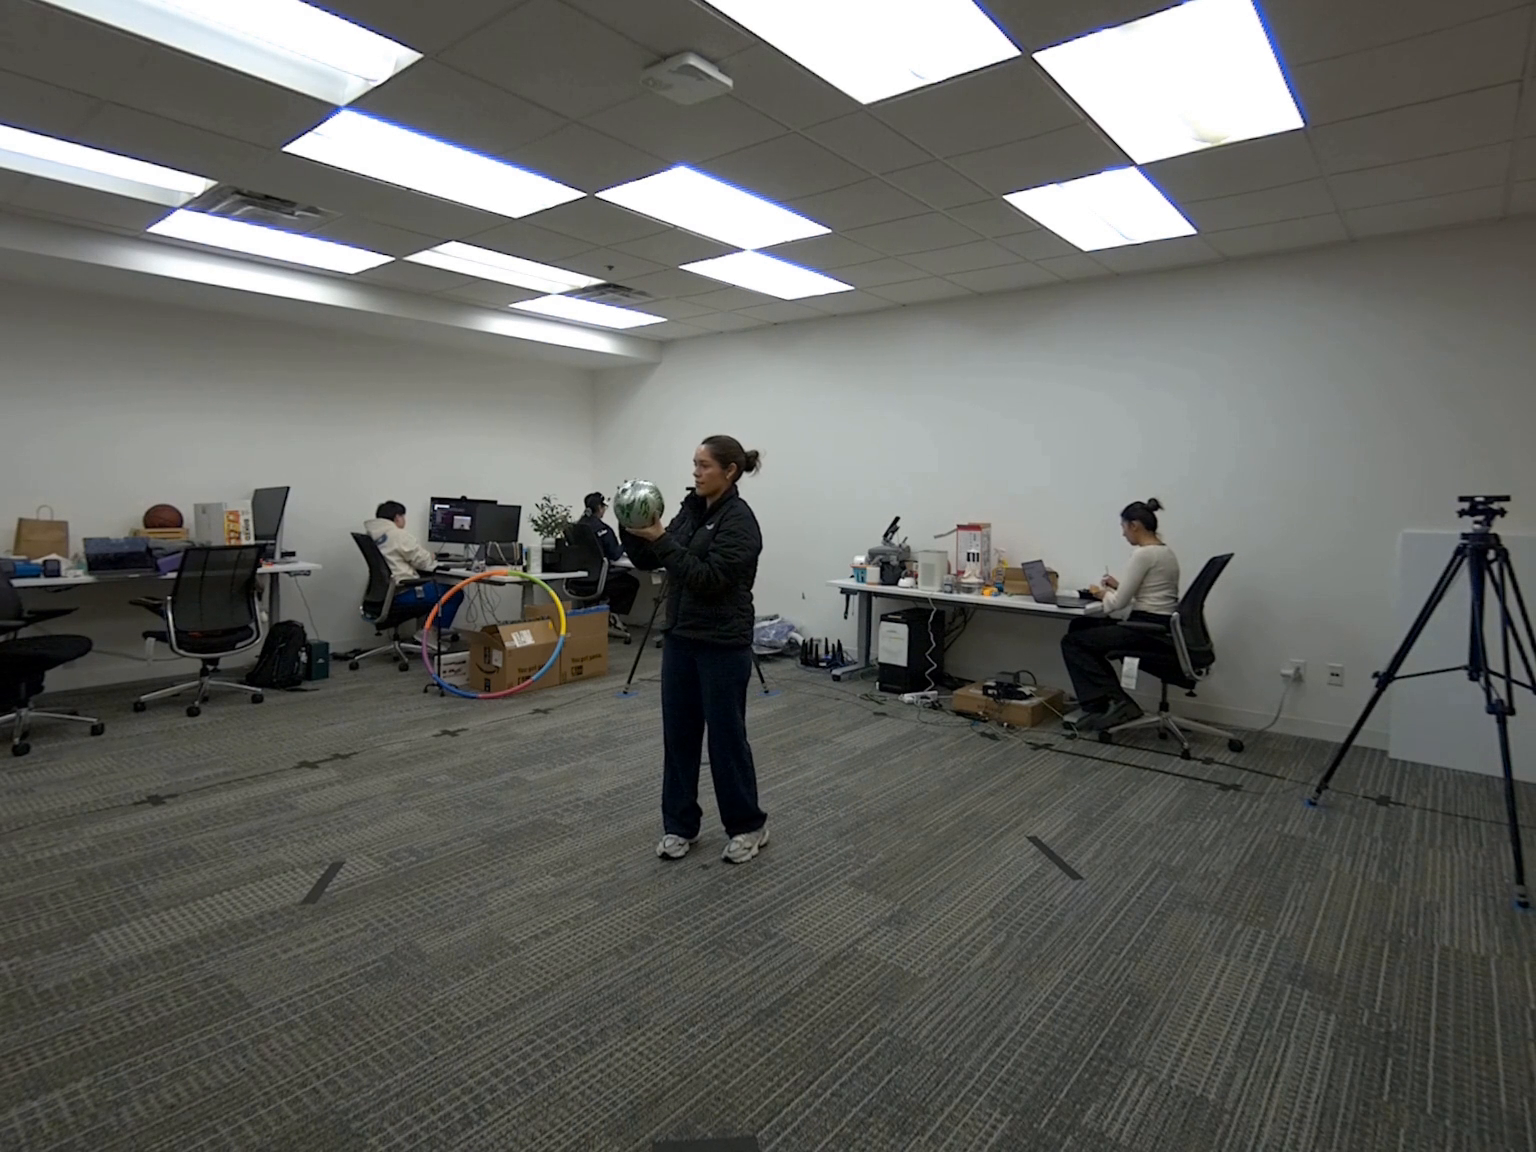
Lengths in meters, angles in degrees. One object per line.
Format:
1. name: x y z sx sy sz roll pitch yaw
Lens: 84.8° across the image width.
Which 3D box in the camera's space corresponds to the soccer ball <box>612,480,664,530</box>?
1. soccer ball: -0.484 -0.269 3.121 0.187 0.187 0.188 1 4 -2
